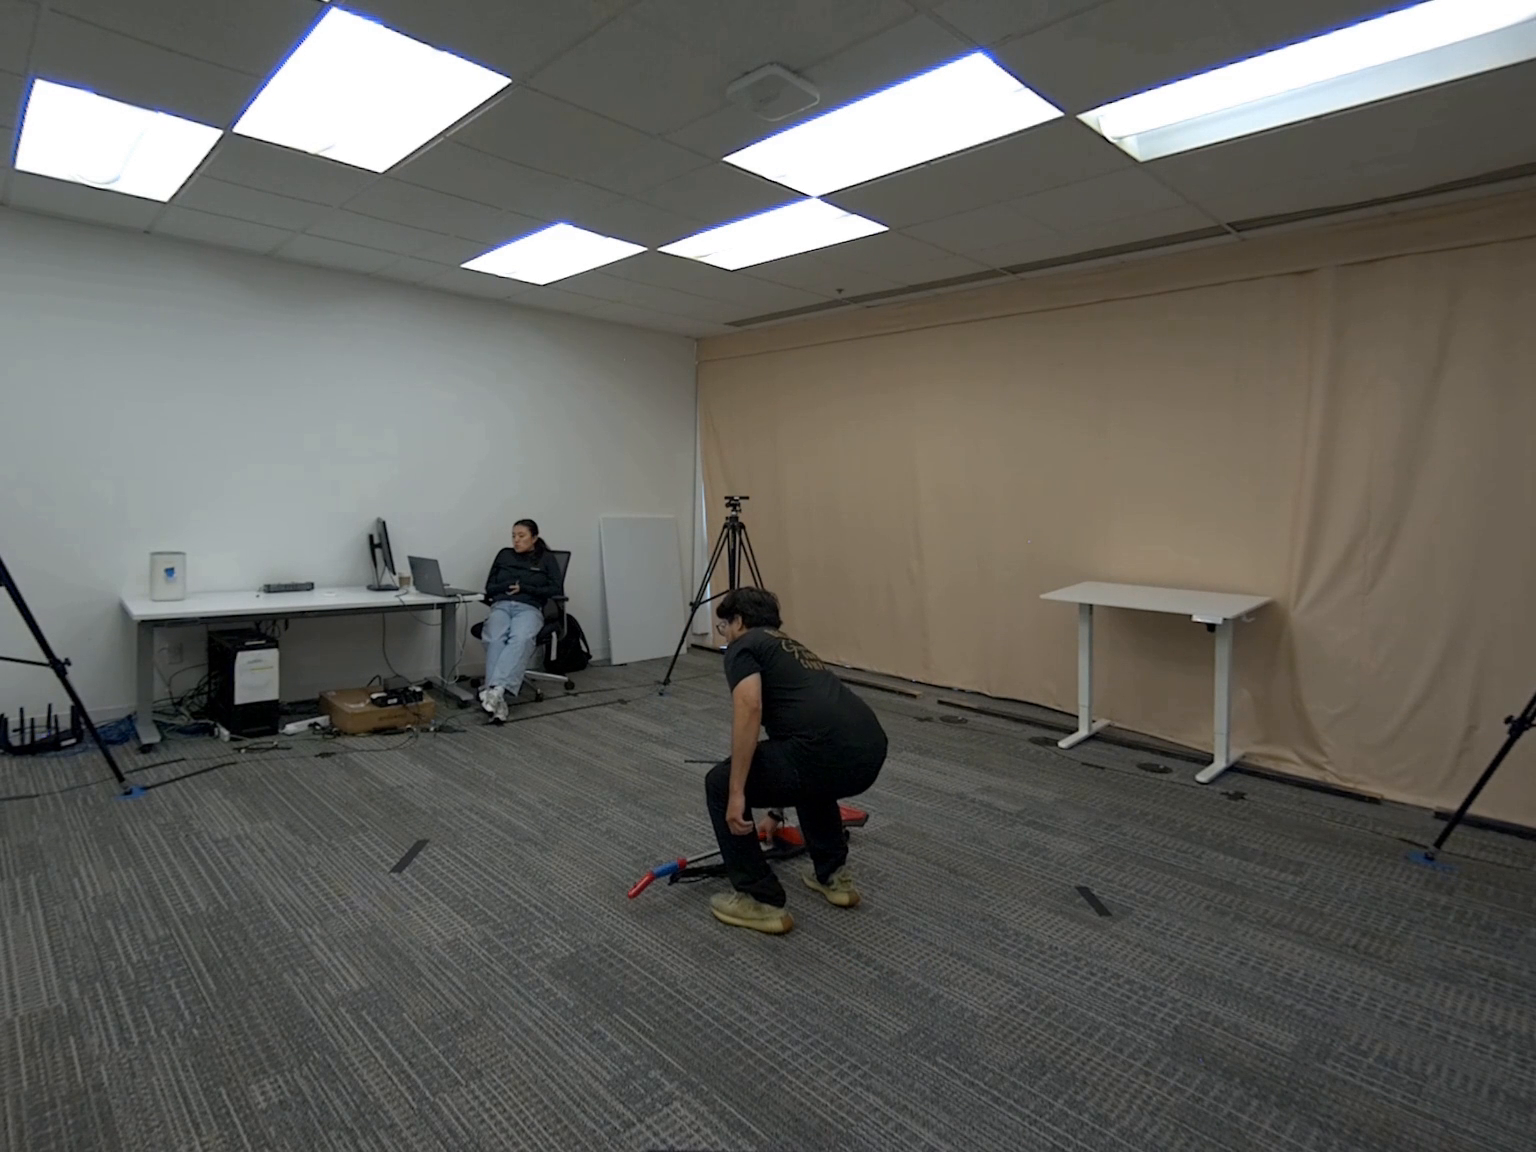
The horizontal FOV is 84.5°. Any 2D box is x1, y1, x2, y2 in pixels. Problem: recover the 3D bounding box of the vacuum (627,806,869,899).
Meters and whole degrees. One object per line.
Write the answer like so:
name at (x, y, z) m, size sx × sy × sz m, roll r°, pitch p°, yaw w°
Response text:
vacuum at (-0.082, 1.043, 3.139) m, size 1.026 × 0.143 × 0.259 m, roll -4°, pitch 7°, yaw -42°
